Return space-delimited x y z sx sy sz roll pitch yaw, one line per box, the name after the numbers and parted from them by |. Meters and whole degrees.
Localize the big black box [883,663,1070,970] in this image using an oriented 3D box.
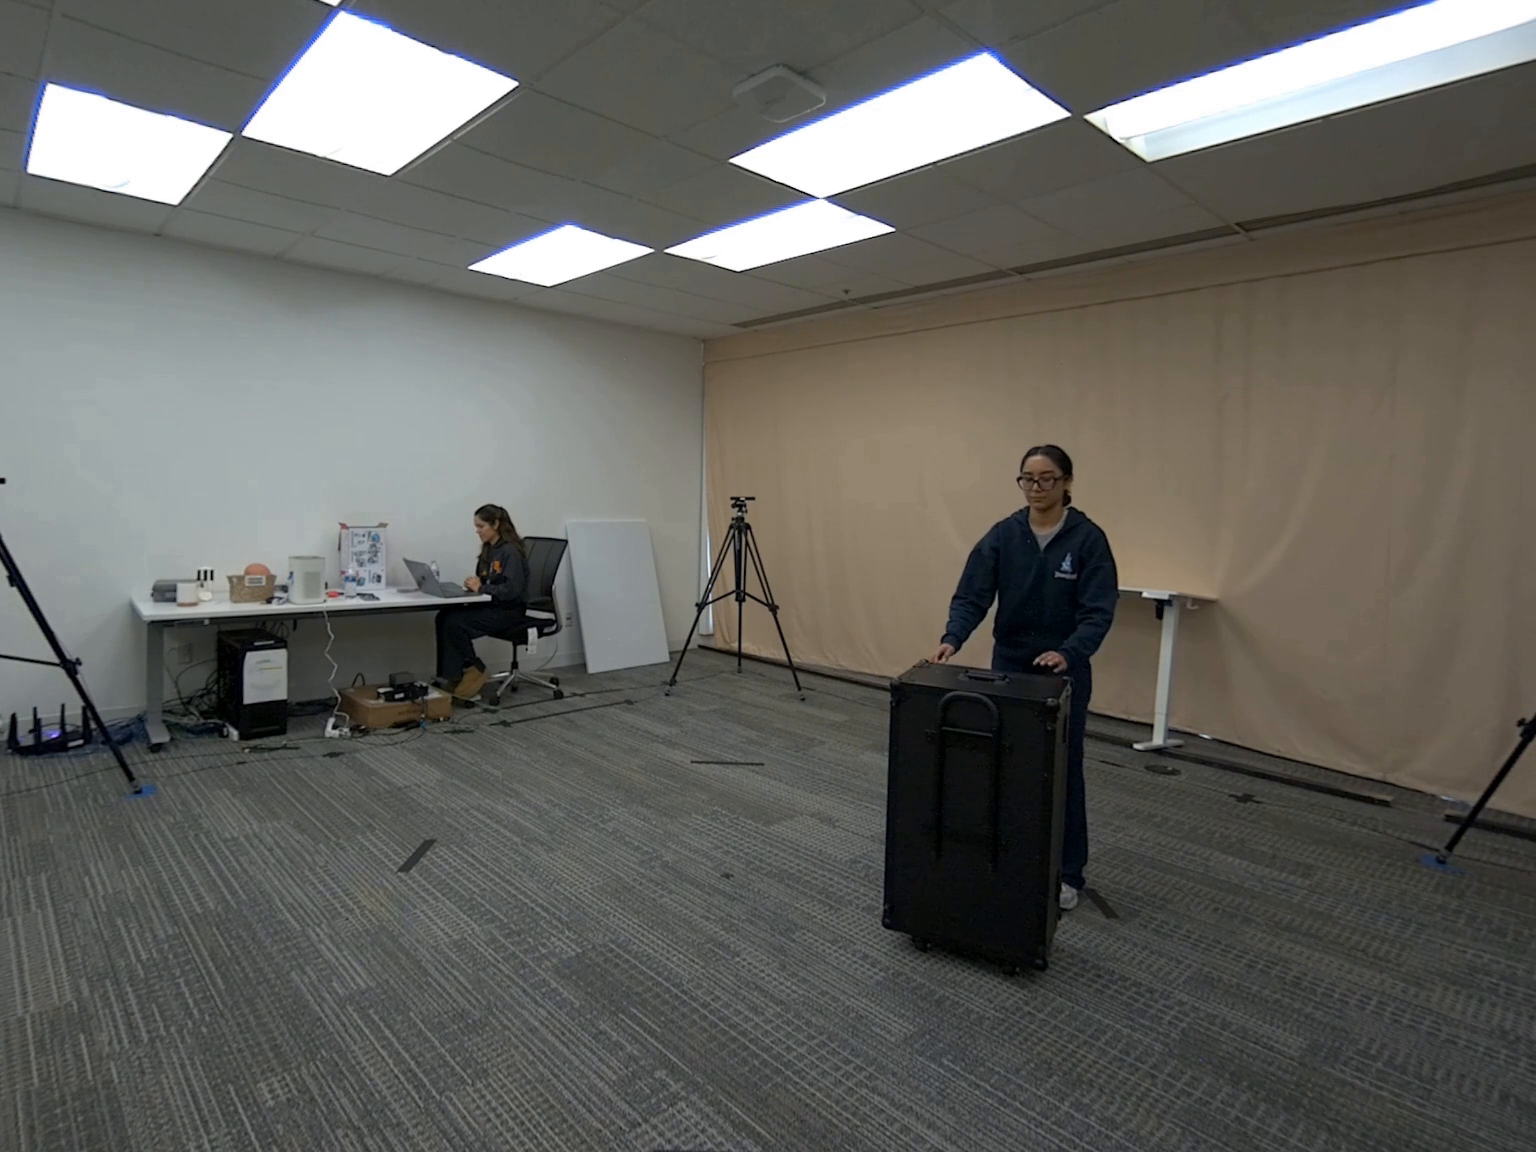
0.652 0.744 2.629 0.532 0.858 0.389 3 6 27 | big black box
